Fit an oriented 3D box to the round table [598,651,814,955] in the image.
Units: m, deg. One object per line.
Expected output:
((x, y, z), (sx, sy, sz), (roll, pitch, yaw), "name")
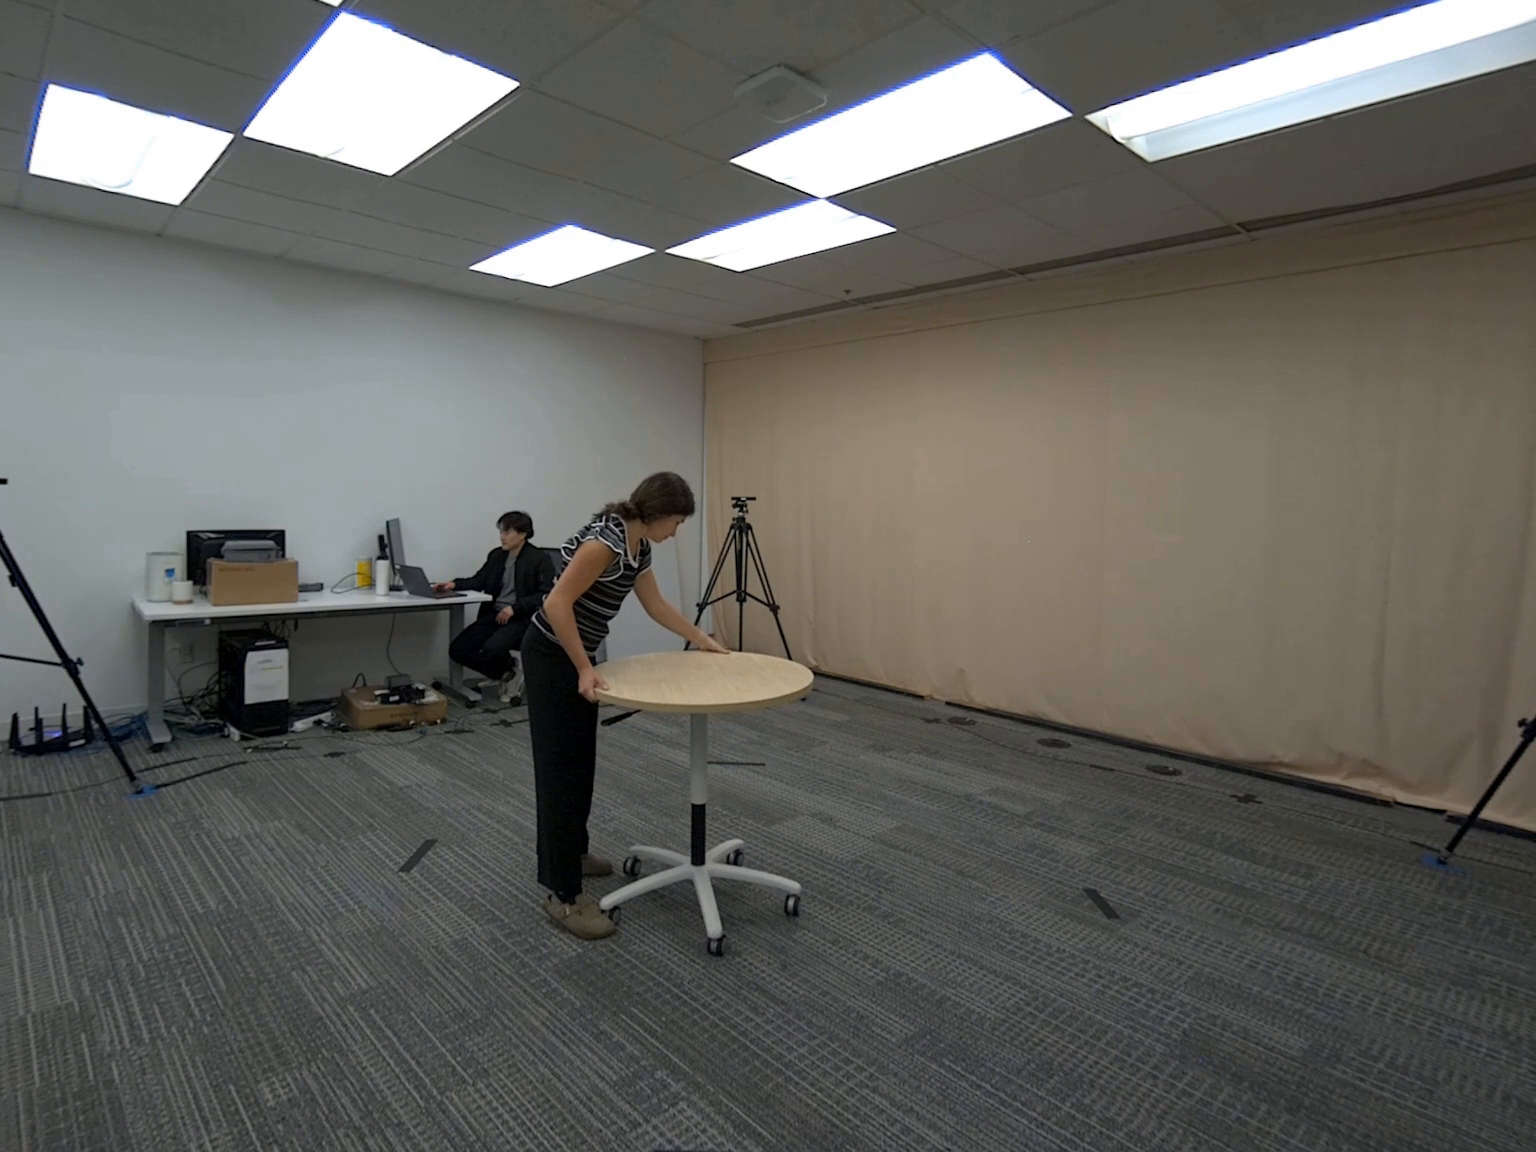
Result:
((-0.247, 0.720, 2.859), (0.784, 0.784, 0.788), (0, 5, -1), "round table")
